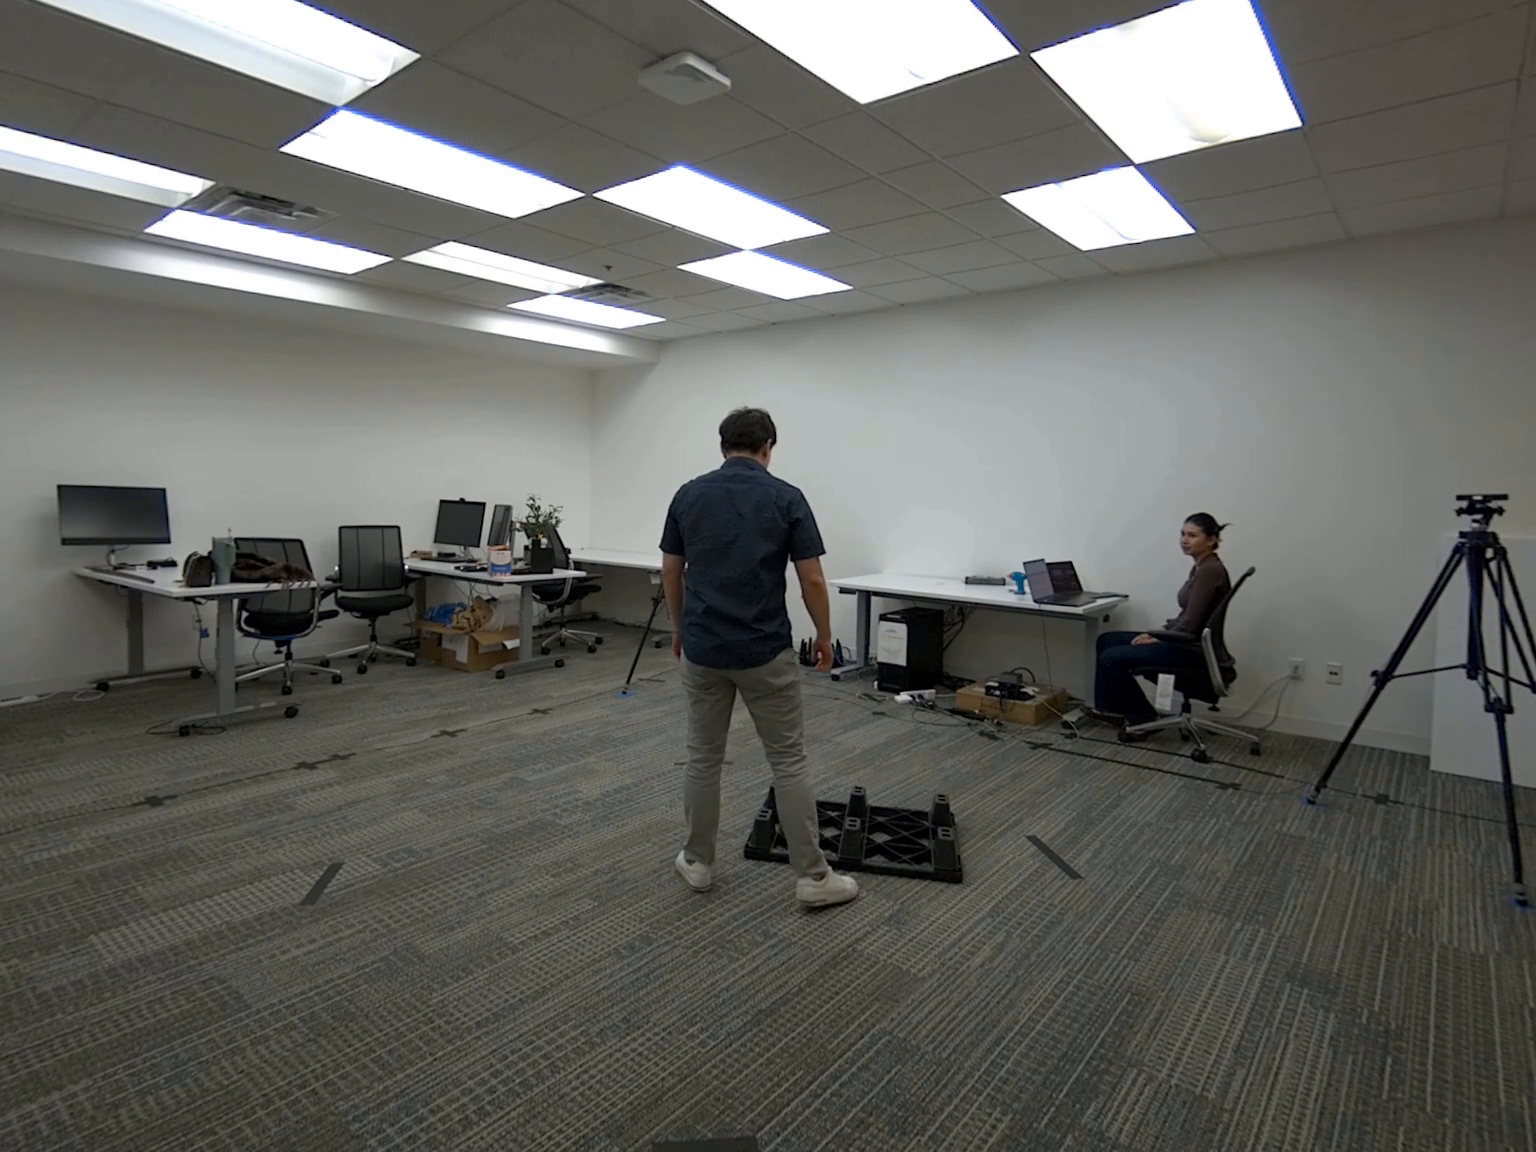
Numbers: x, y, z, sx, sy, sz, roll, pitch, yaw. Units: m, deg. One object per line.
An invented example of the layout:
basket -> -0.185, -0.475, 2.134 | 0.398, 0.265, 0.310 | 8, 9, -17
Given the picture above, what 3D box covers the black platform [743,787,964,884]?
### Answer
black platform -> 0.346, 0.982, 3.399 | 0.816, 0.143, 0.600 | 3, 6, 11
